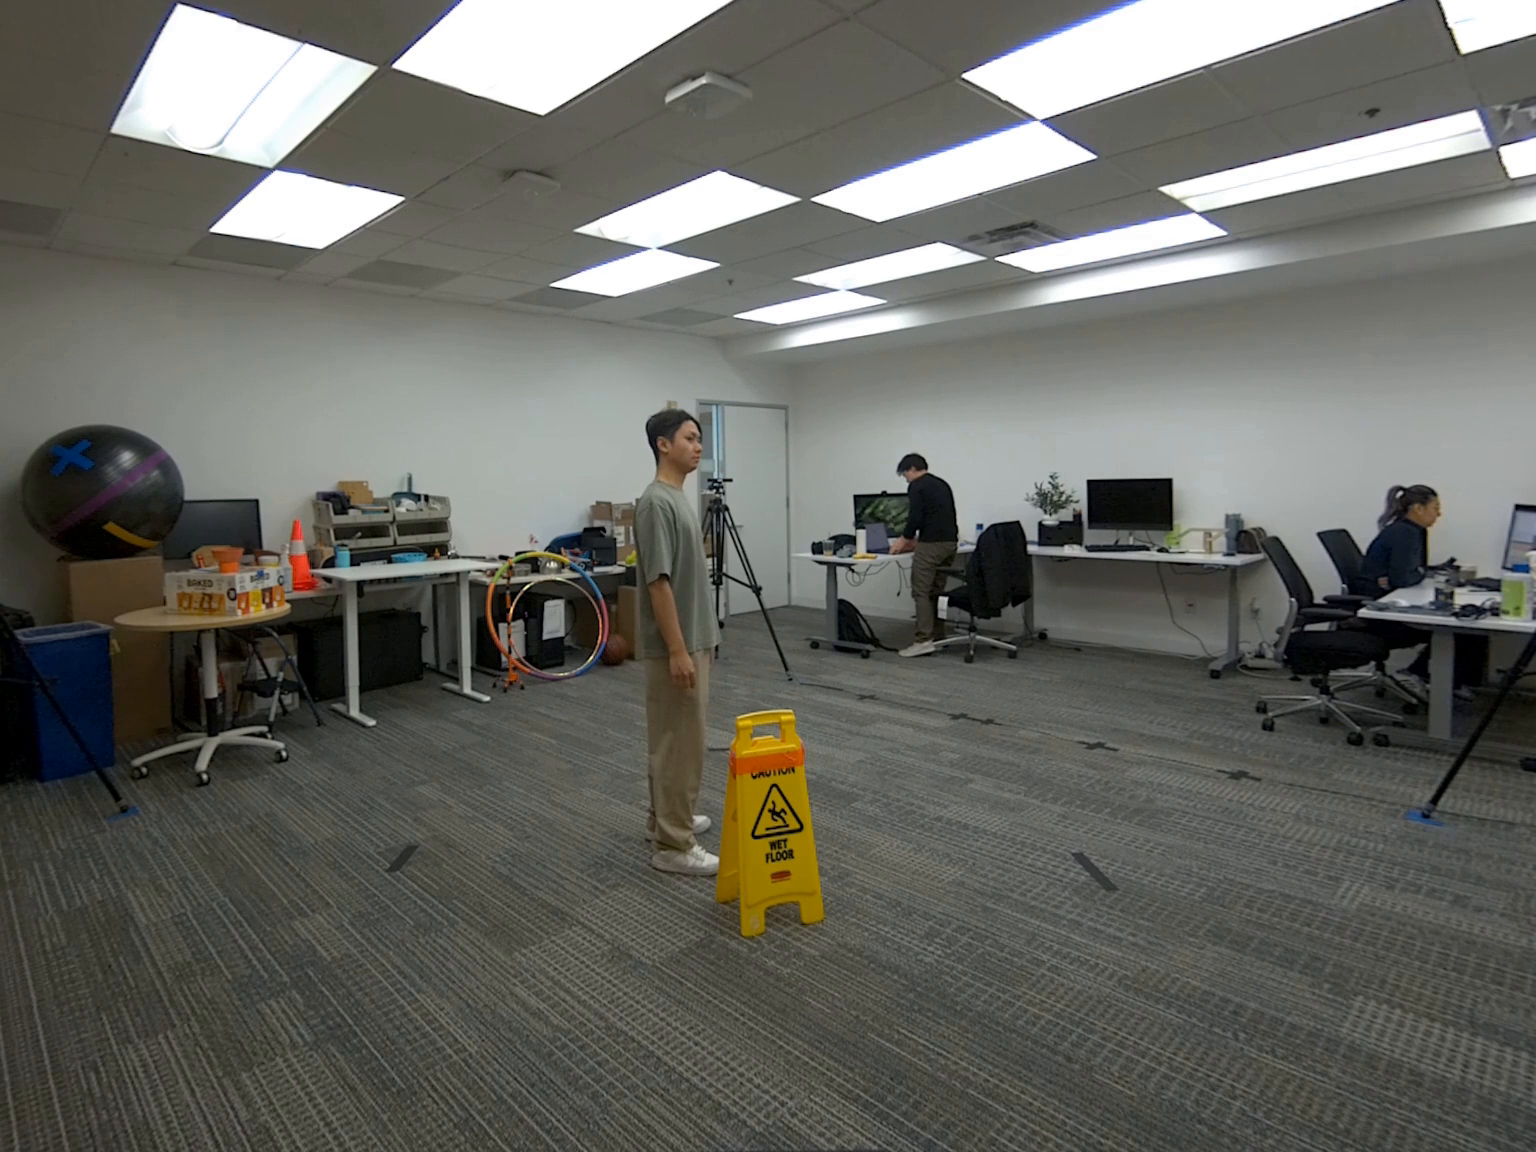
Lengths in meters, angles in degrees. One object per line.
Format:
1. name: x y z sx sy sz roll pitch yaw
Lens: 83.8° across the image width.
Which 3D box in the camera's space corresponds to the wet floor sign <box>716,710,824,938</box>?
1. wet floor sign: -0.001 0.757 2.745 0.277 0.644 0.296 -2 4 -22
